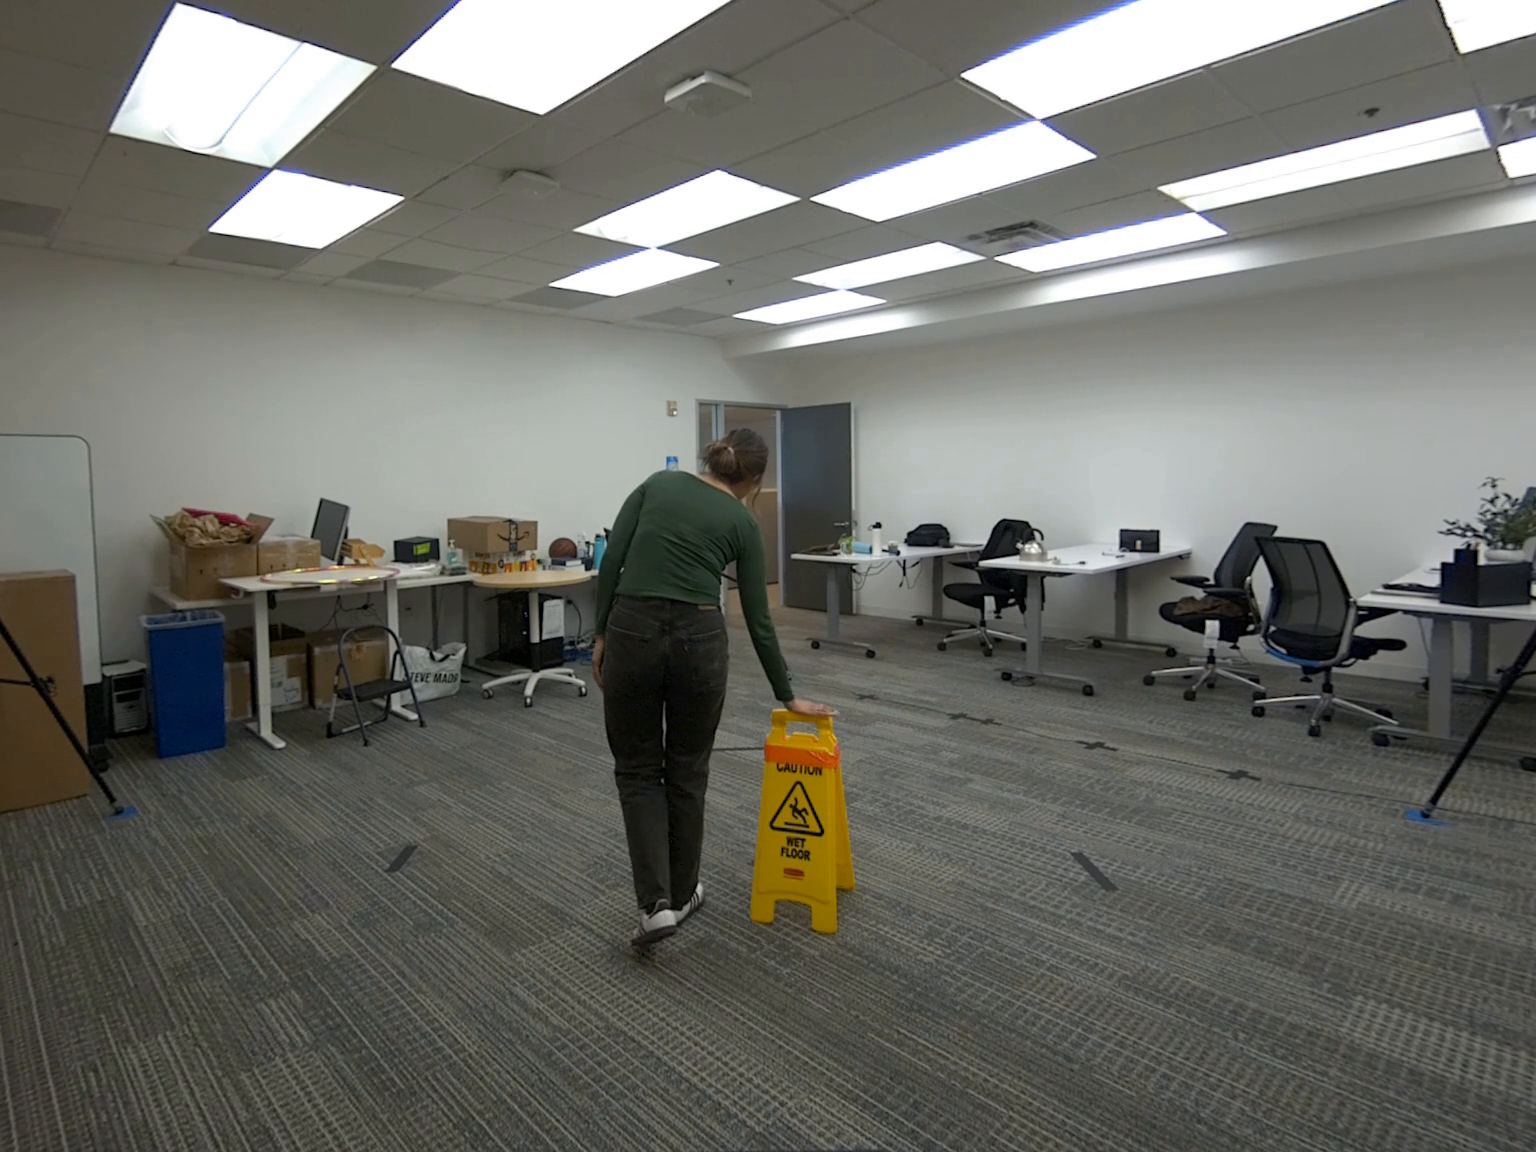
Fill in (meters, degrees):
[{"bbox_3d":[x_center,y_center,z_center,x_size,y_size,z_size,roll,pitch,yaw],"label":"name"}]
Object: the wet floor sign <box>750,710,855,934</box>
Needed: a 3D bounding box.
[{"bbox_3d":[0.114,0.754,2.786,0.287,0.644,0.285,2,4,18],"label":"wet floor sign"}]
